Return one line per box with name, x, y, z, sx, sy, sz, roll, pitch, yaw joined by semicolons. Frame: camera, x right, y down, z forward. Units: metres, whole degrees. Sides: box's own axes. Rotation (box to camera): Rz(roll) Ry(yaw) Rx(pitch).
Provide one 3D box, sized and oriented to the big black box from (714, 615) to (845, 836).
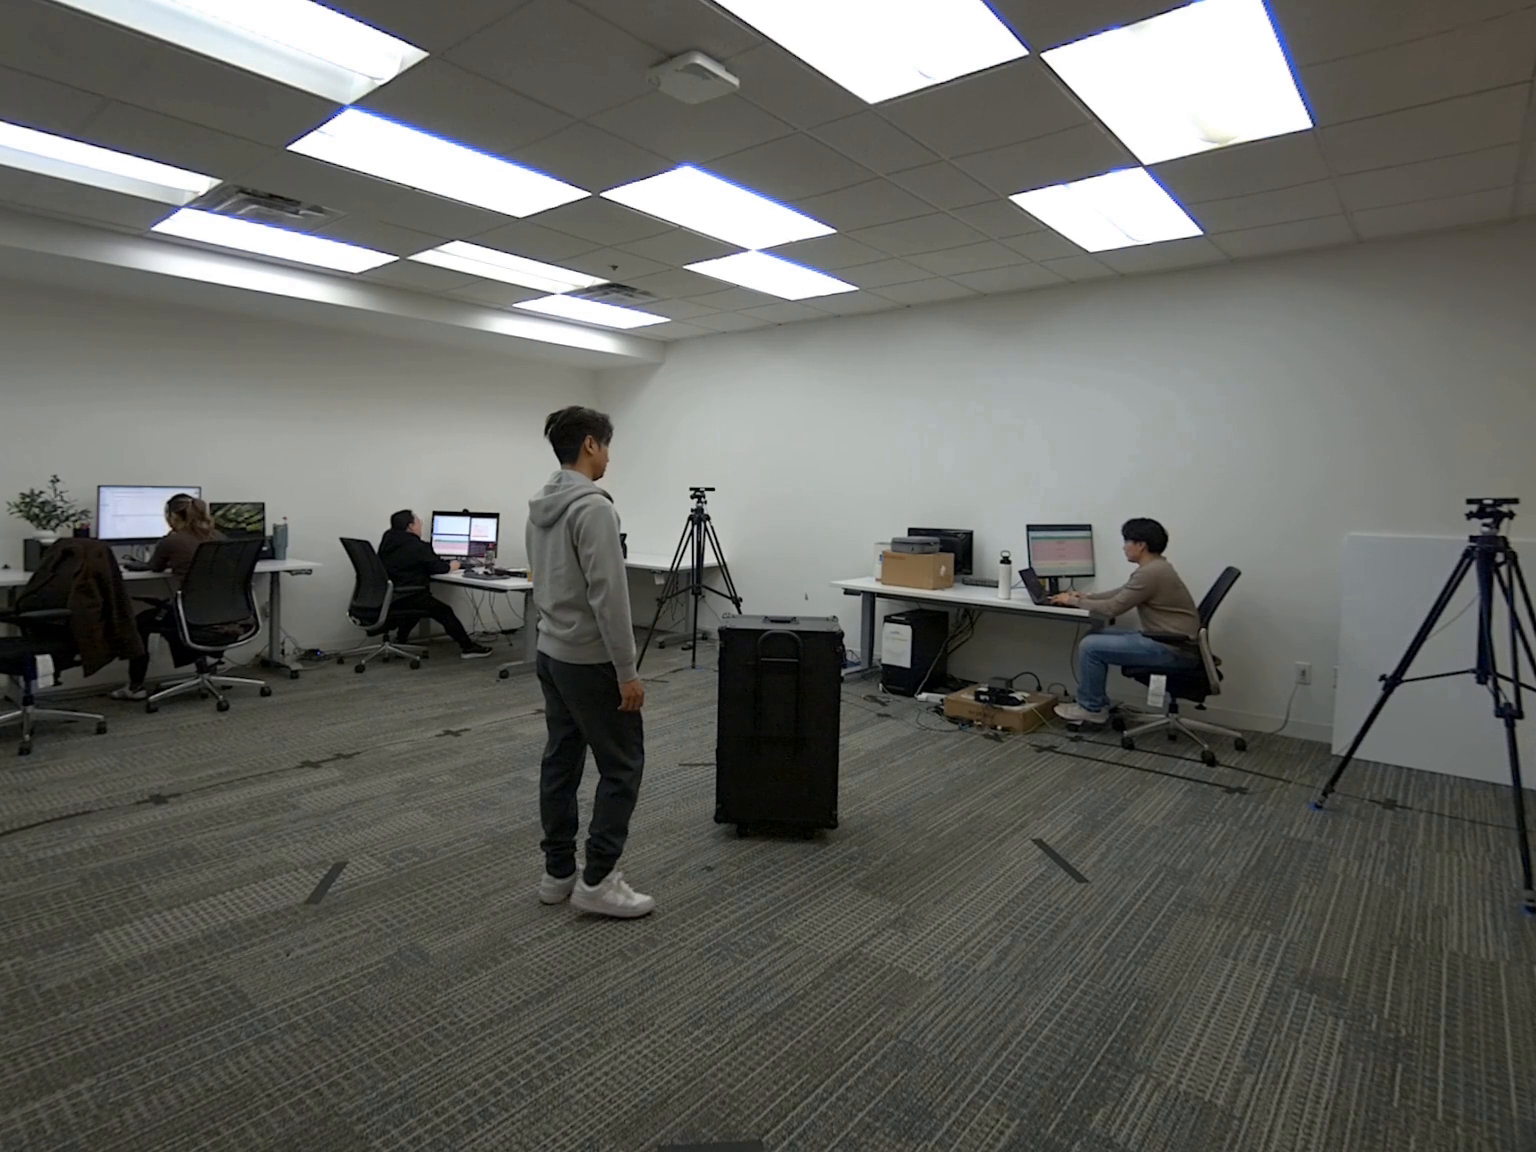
big black box;0.036;0.608;3.485;0.524;0.858;0.396;2;5;3
